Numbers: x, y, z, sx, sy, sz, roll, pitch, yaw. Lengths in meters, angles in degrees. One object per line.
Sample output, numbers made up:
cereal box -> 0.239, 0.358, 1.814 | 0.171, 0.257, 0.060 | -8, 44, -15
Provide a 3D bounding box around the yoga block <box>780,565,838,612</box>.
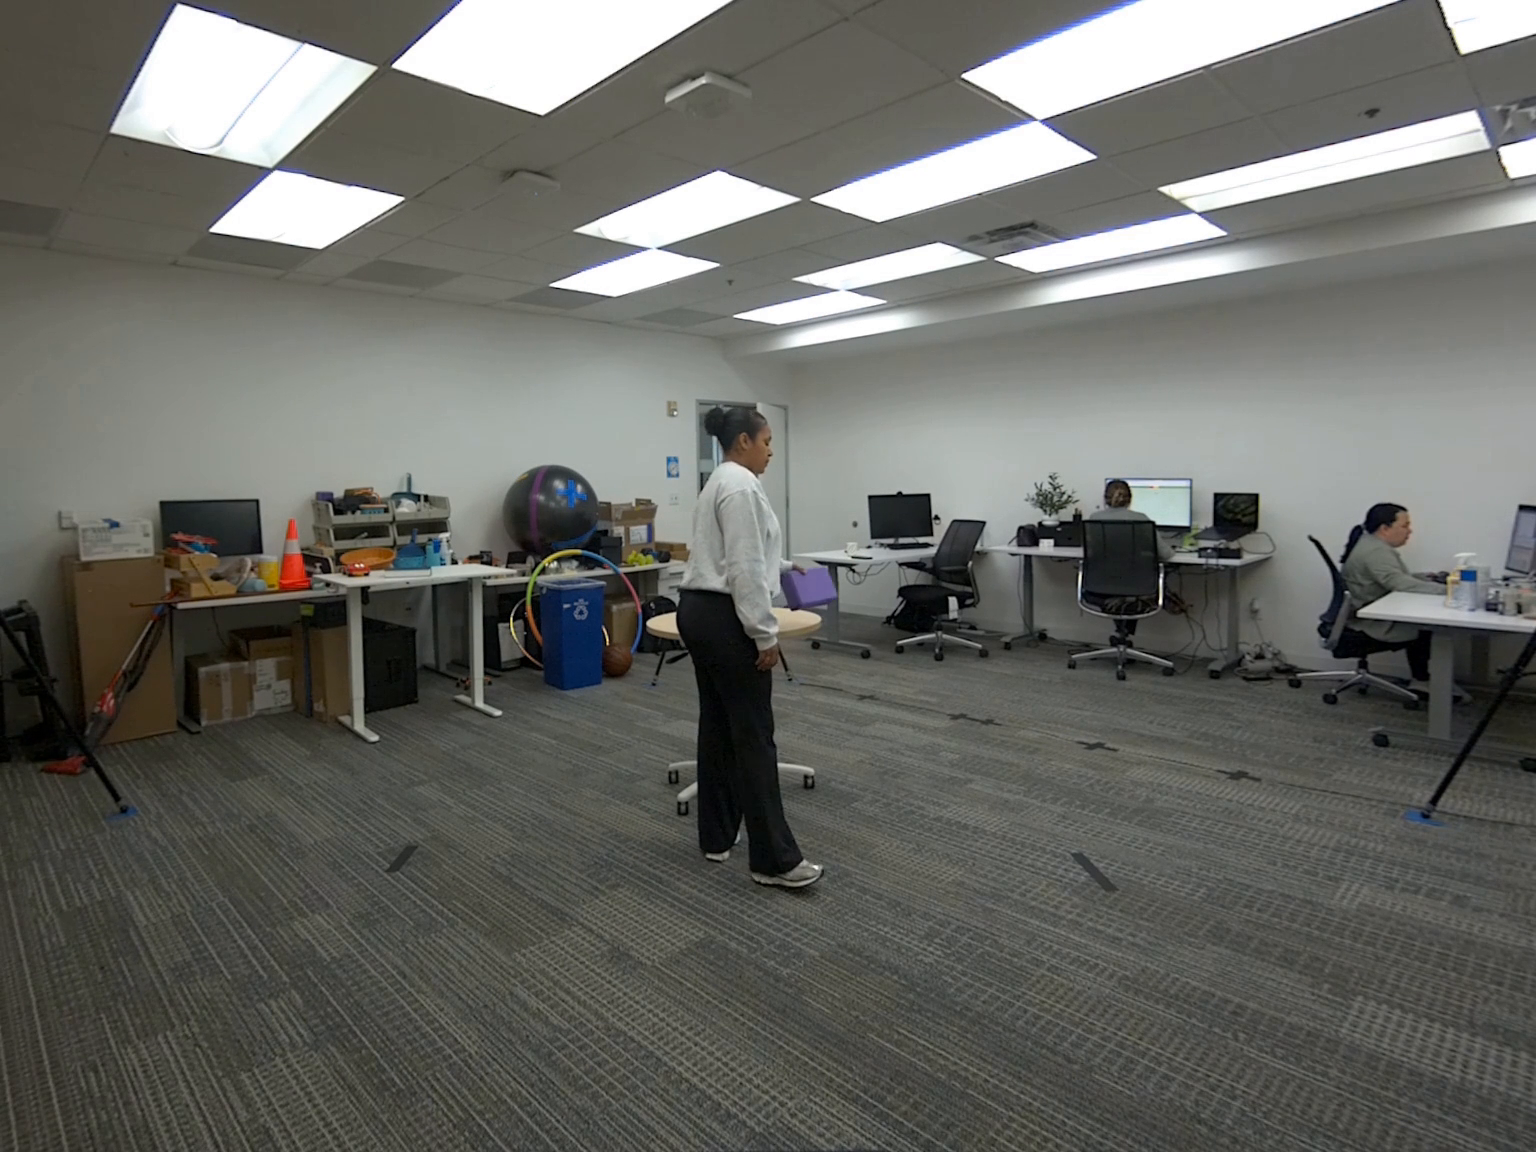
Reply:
yoga block -> 0.162, 0.049, 3.470 | 0.224, 0.151, 0.077 | -9, -19, -43
